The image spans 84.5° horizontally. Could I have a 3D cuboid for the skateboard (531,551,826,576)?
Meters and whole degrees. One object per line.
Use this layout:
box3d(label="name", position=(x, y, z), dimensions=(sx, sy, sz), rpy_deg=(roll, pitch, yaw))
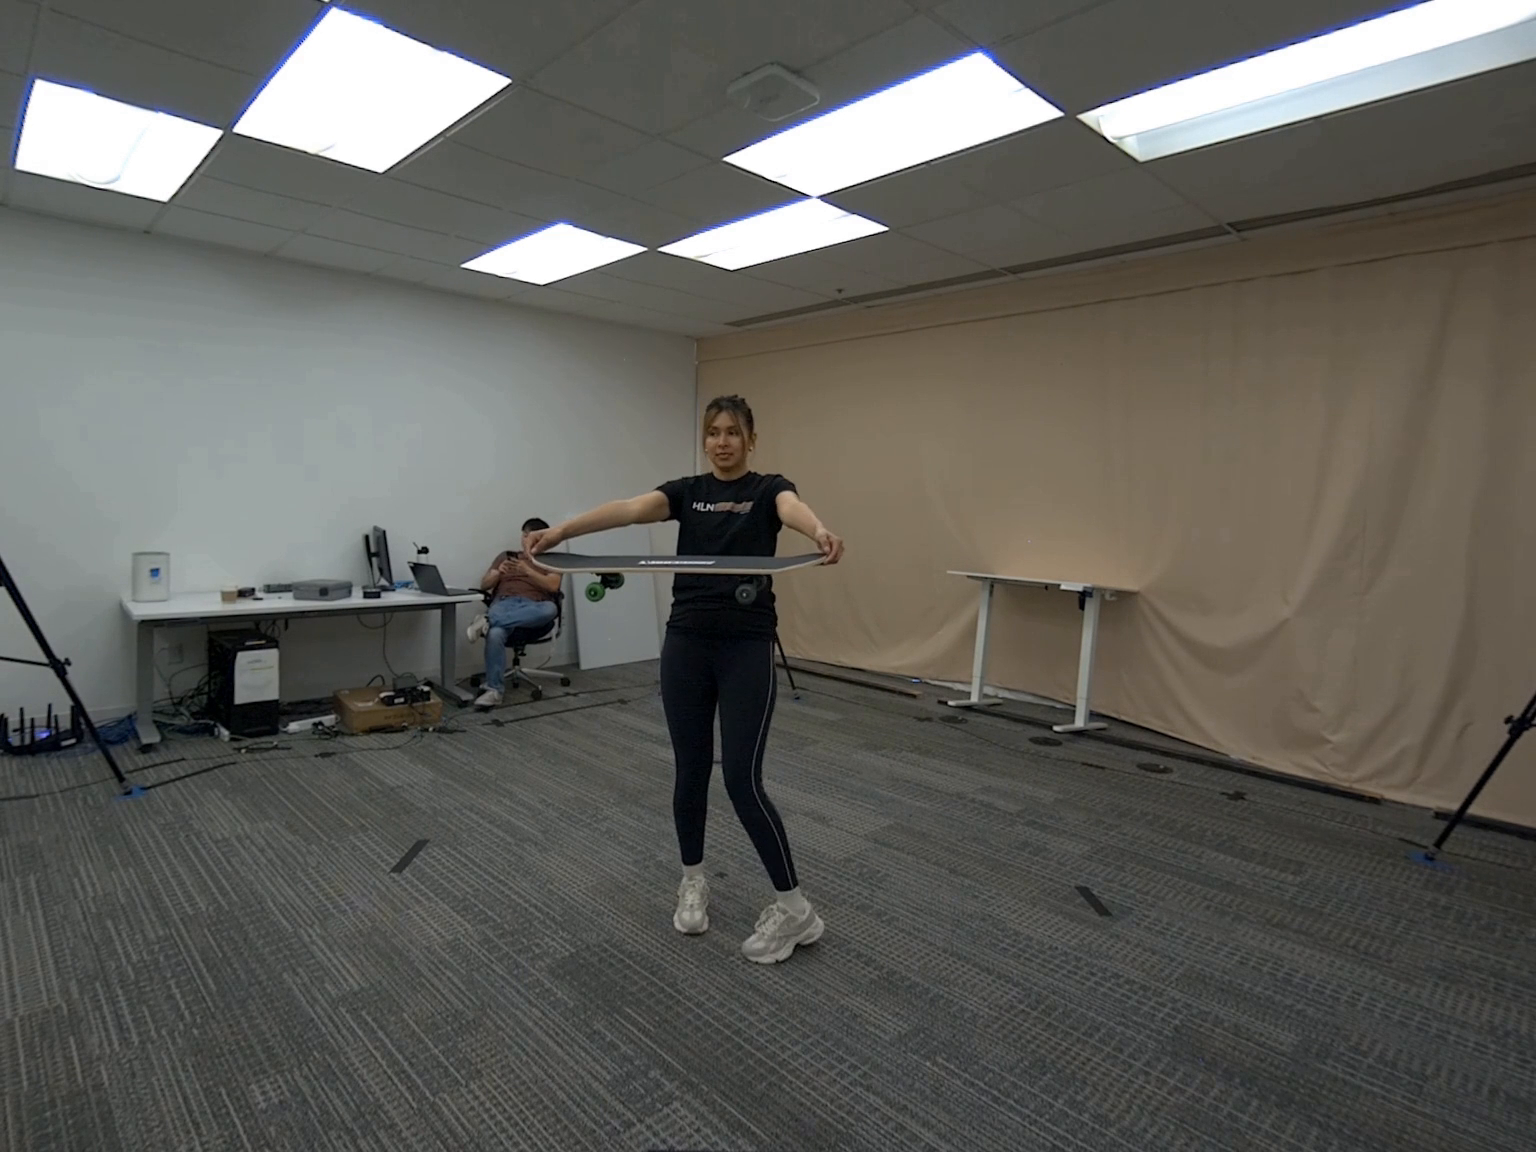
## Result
box3d(label="skateboard", position=(-0.226, 0.006, 2.204), dimensions=(0.792, 0.109, 0.193), rpy_deg=(1, 10, 11))
